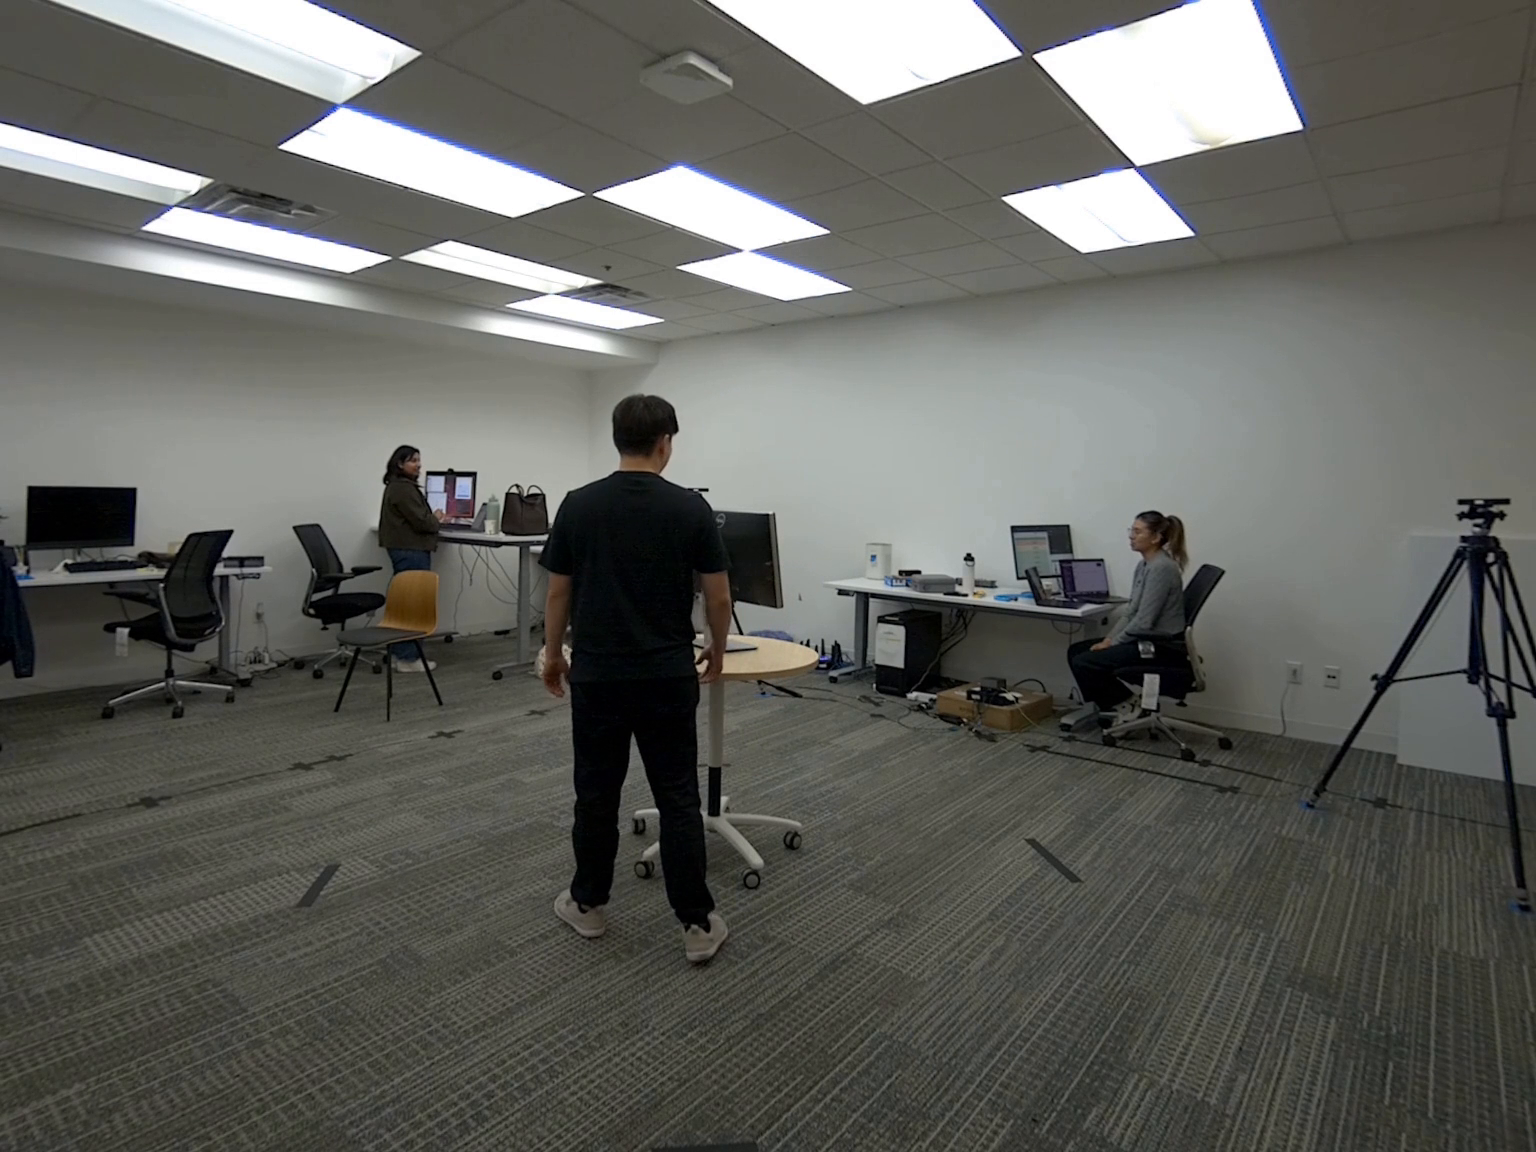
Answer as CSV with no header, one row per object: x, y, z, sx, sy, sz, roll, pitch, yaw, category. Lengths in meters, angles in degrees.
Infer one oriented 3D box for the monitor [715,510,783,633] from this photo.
-0.189,0.012,3.326,0.181,0.521,0.558,1,4,-42,monitor
